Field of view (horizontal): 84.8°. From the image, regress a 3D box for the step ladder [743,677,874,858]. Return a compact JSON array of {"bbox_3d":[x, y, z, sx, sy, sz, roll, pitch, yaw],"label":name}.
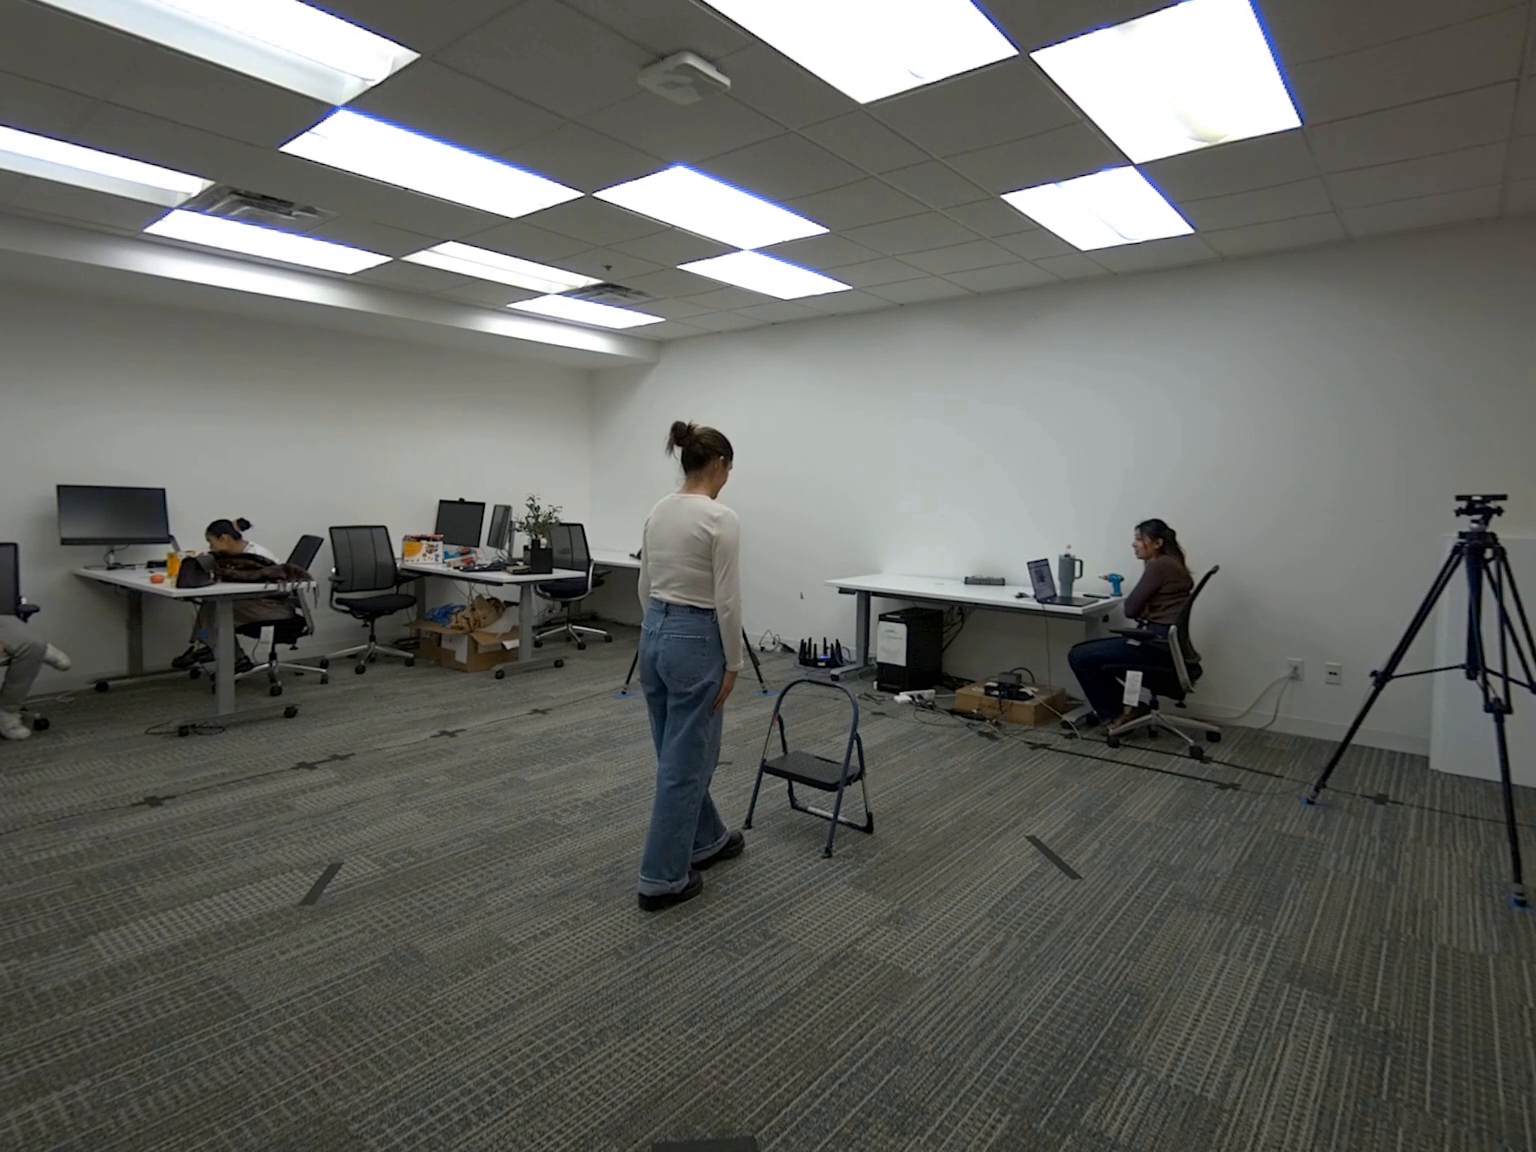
[{"bbox_3d":[0.165,0.734,3.462,0.445,0.604,0.339,4,5,39],"label":"step ladder"}]
